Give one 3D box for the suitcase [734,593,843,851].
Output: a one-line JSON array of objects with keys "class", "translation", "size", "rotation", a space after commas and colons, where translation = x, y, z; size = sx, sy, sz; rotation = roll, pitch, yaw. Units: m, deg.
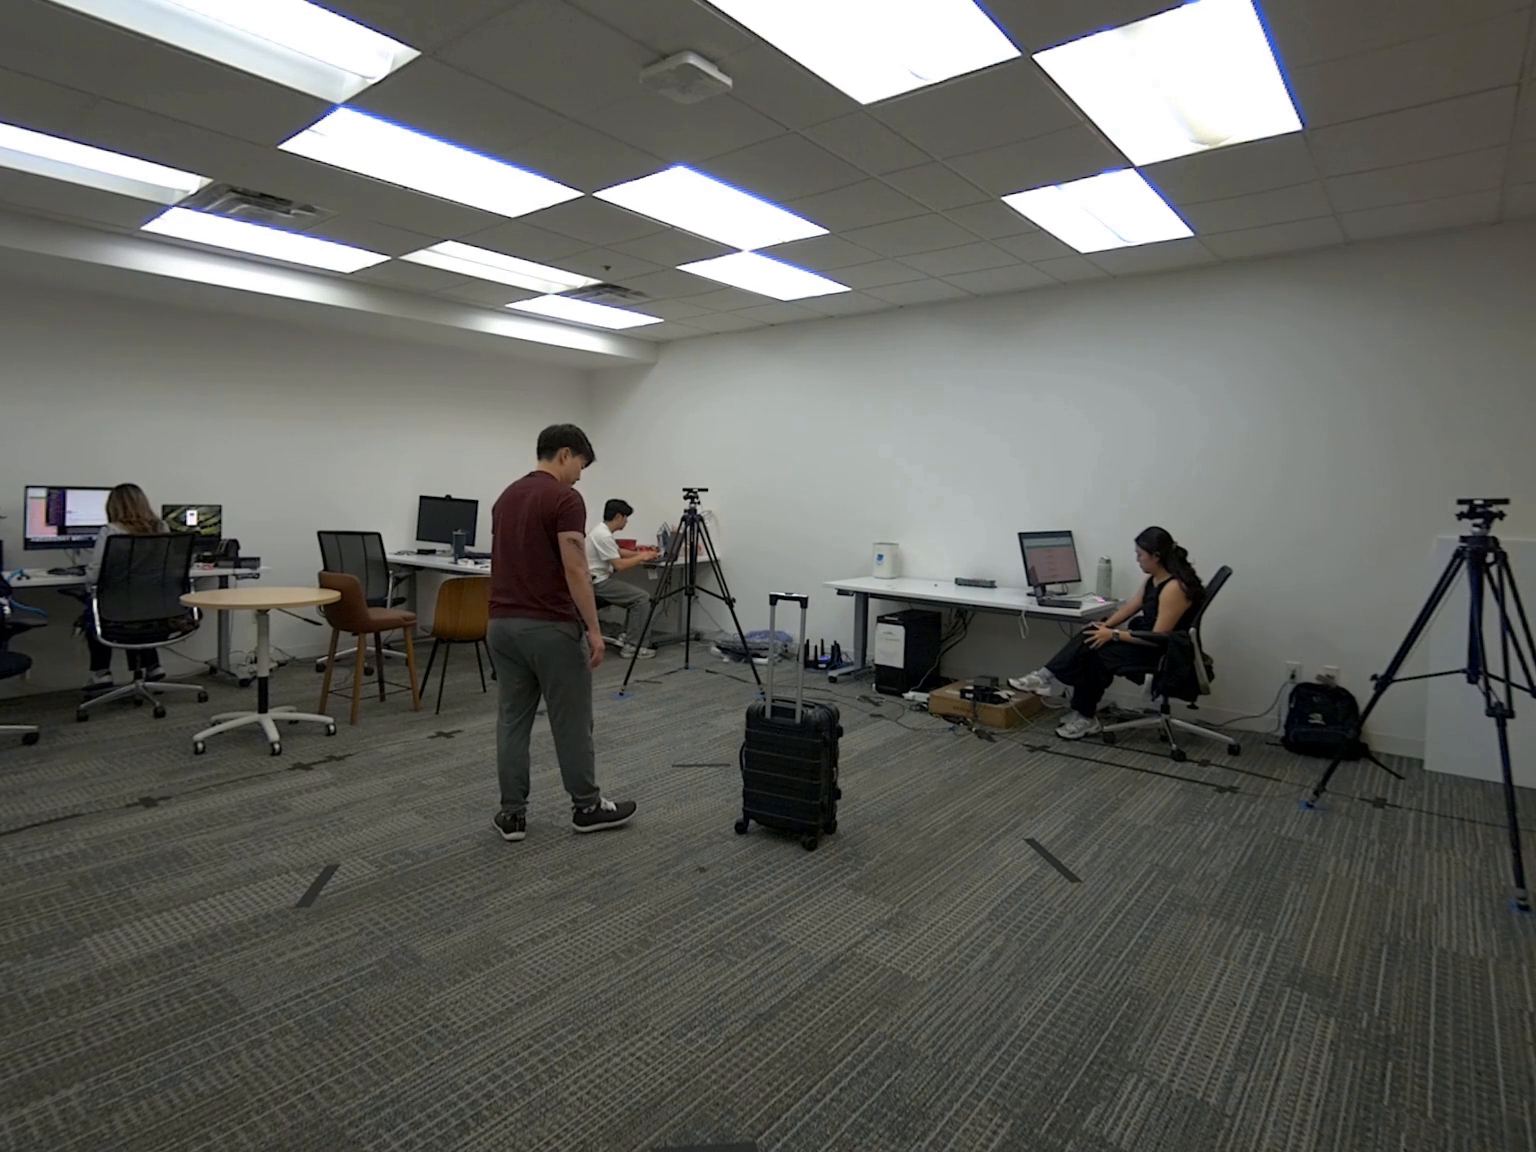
[{"class": "suitcase", "translation": [0.093, 0.564, 3.465], "size": [0.394, 0.978, 0.250], "rotation": [3, 0, 26]}]
